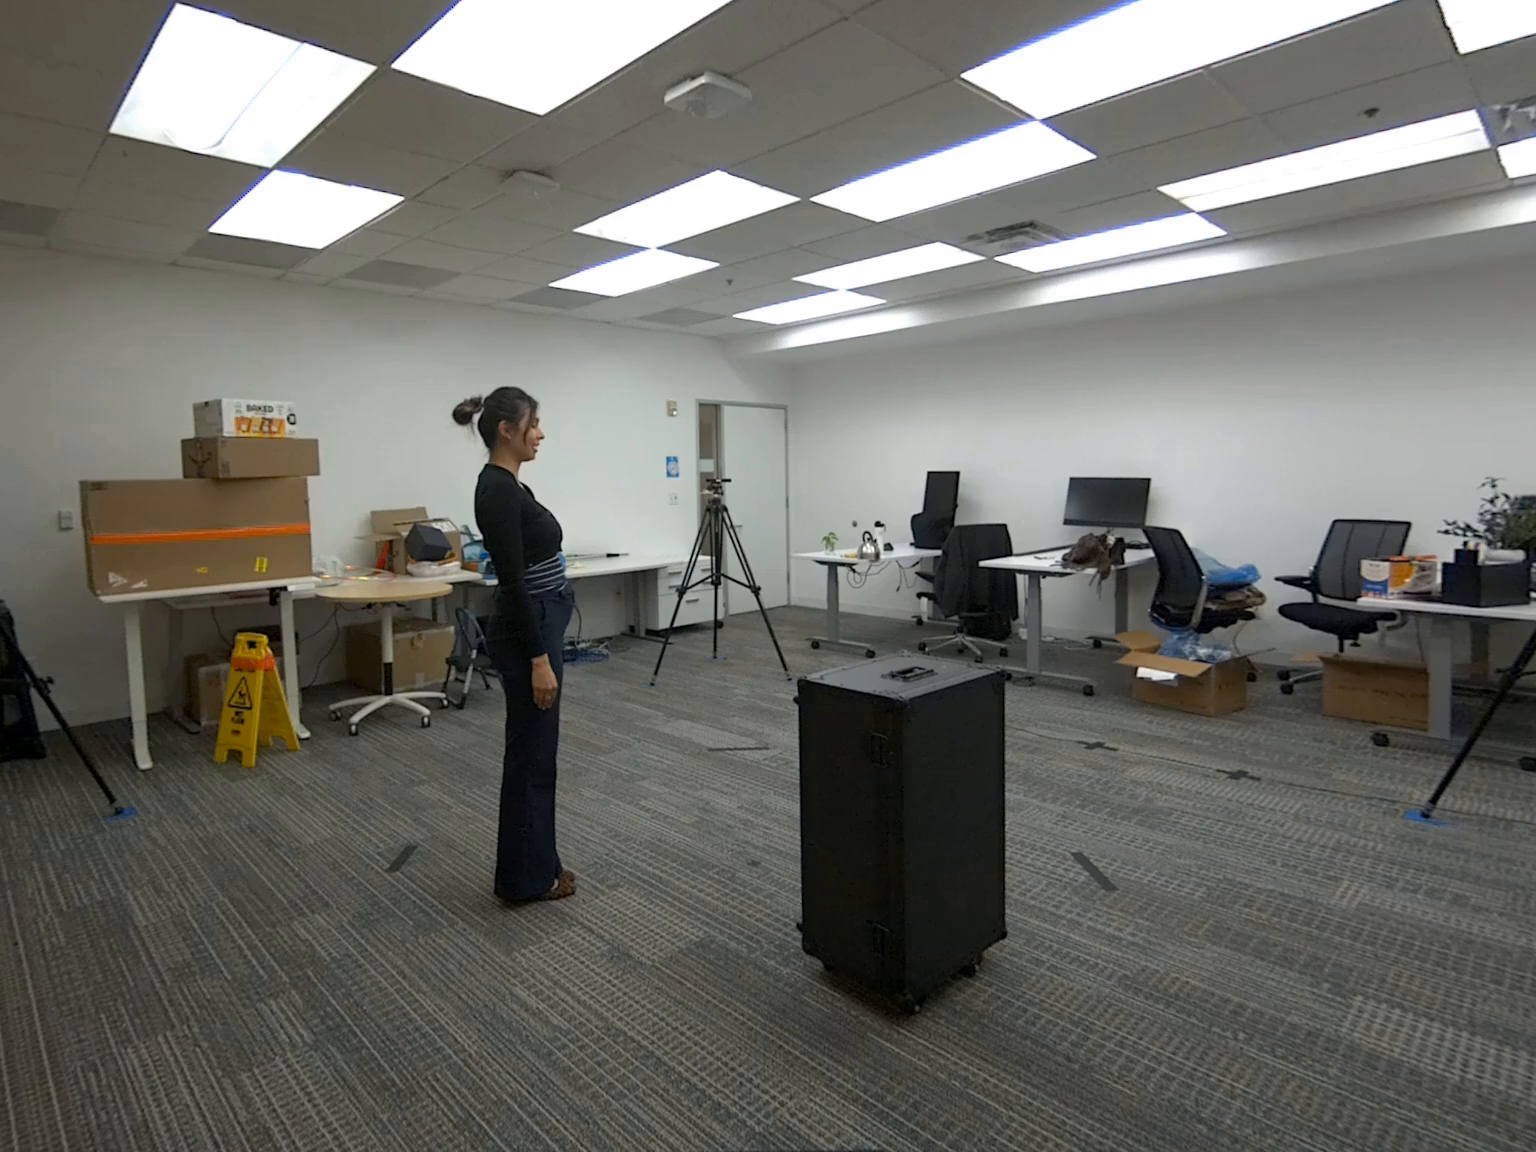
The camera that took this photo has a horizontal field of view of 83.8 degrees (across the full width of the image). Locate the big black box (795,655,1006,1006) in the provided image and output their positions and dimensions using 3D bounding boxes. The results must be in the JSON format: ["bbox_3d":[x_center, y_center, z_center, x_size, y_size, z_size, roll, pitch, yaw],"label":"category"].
[{"bbox_3d":[0.375,0.691,2.405,0.507,0.859,0.408,-4,4,-42],"label":"big black box"}]
